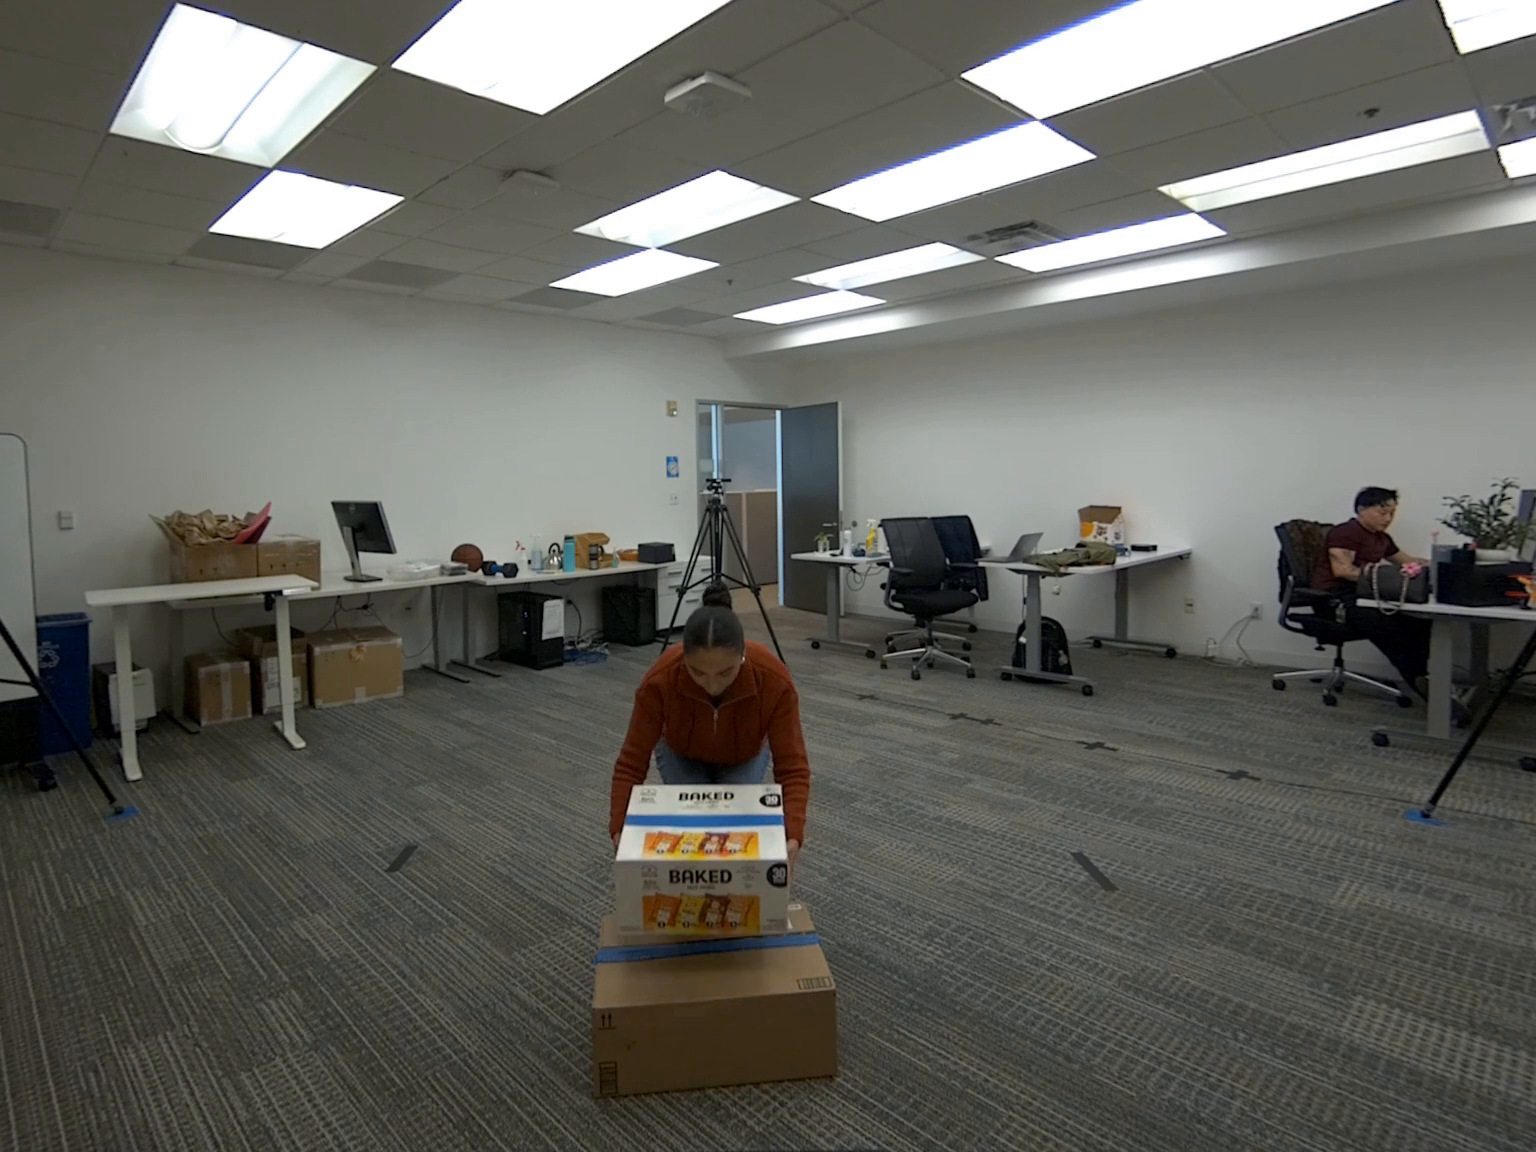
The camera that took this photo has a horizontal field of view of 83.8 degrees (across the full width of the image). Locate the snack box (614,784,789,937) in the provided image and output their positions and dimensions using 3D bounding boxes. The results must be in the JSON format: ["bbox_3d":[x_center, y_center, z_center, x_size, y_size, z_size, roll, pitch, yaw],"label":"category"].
[{"bbox_3d":[-0.156,0.697,2.160,0.405,0.203,0.345,-1,15,0],"label":"snack box"}]
